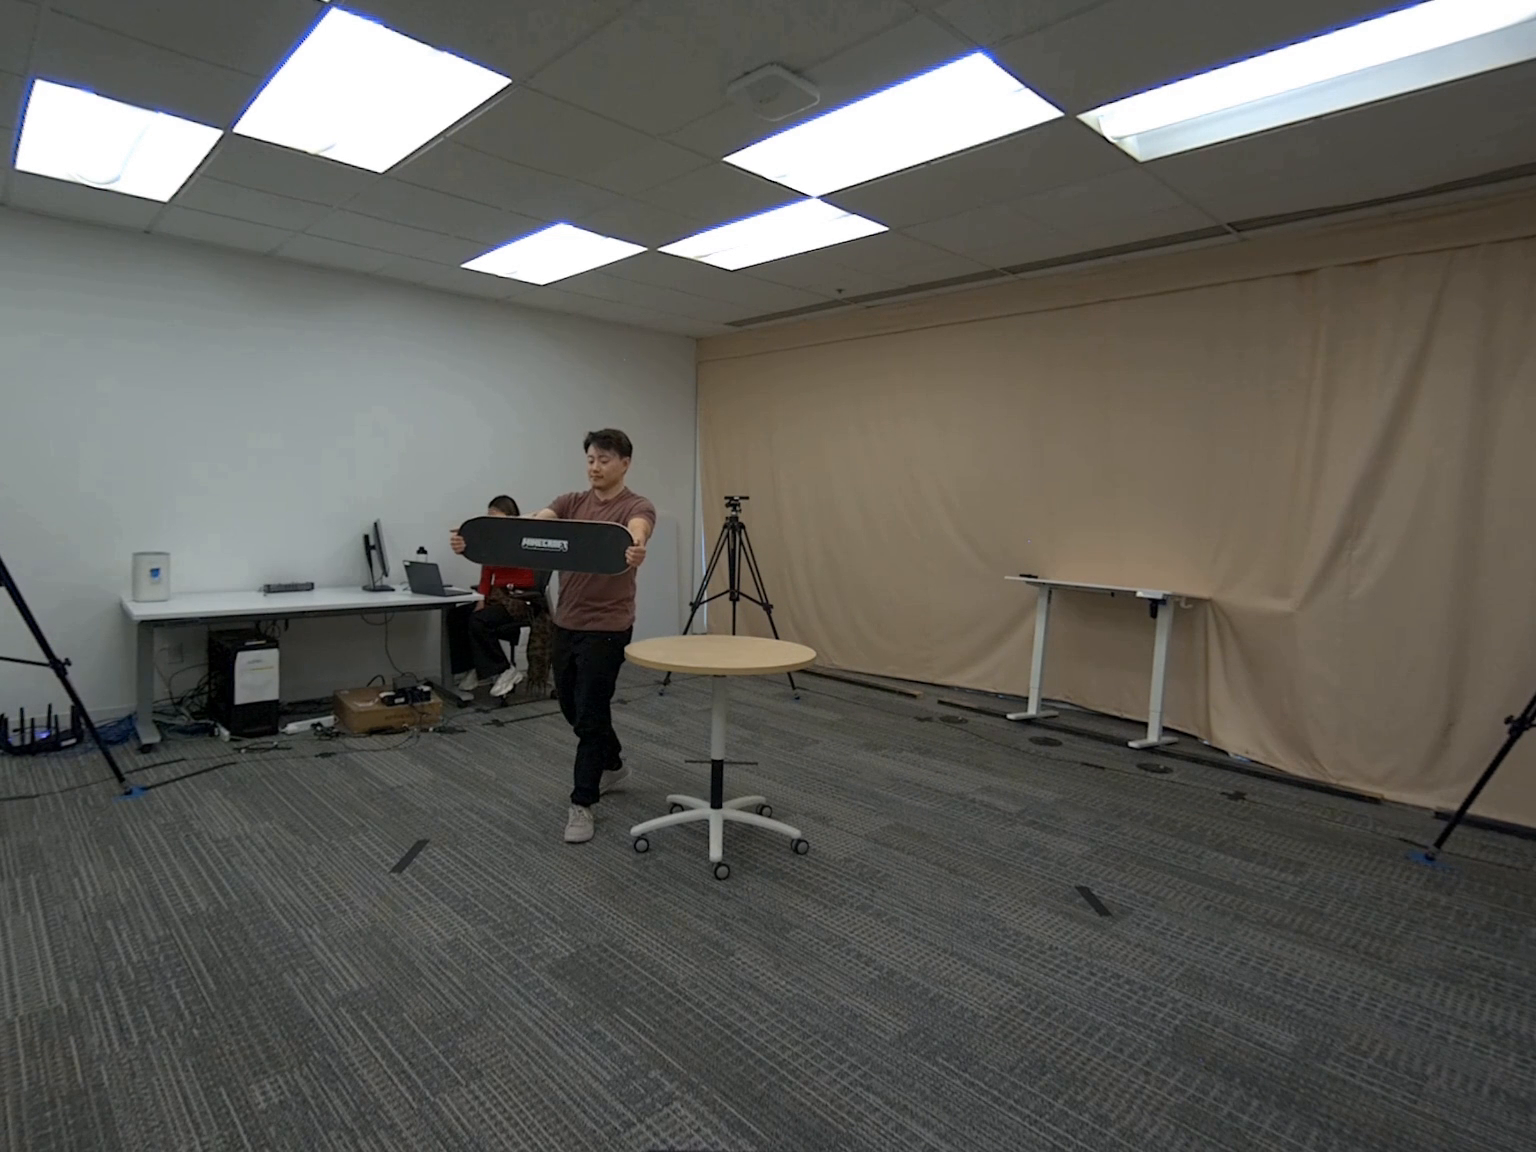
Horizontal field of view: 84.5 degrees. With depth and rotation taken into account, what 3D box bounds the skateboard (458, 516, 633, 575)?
[{"bbox_3d":[-0.840,-0.129,3.207,0.799,0.192,0.109,4,11,21],"label":"skateboard"}]
